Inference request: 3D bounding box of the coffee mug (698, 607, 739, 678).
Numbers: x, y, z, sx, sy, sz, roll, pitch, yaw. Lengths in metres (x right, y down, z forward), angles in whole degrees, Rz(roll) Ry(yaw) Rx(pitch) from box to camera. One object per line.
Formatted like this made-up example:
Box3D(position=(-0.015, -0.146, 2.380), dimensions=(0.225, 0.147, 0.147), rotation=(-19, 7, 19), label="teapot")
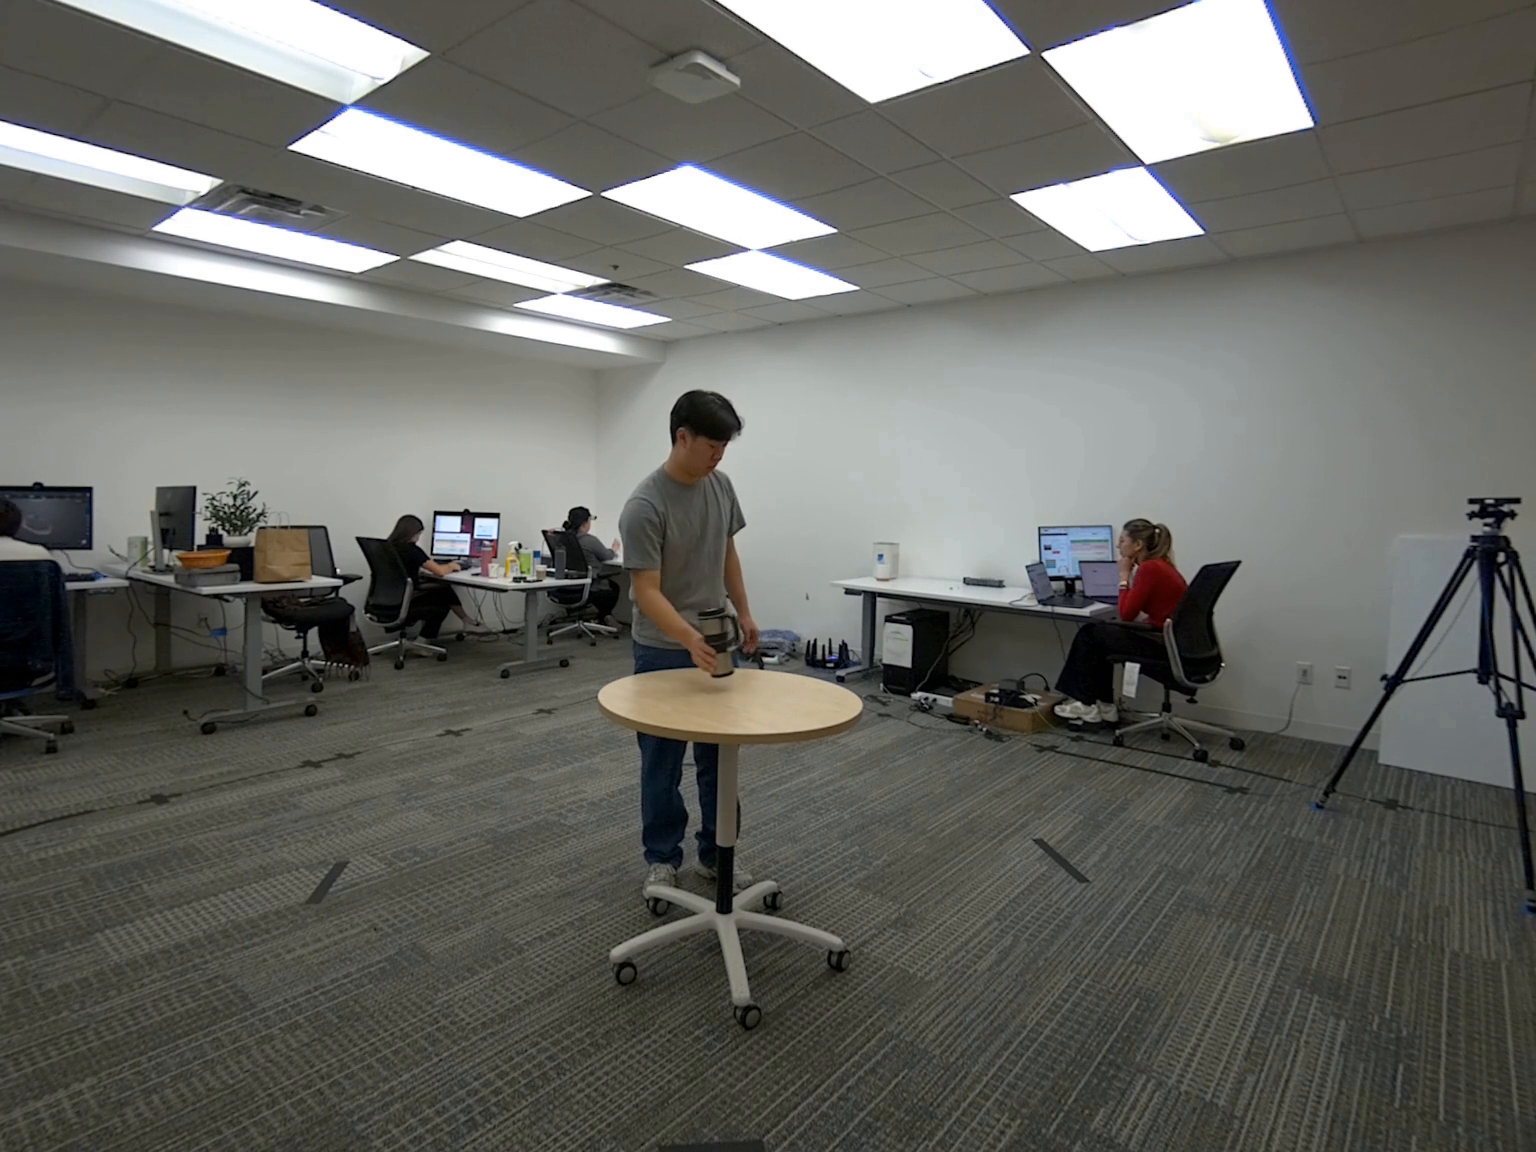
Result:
Box3D(position=(-0.147, 0.203, 2.526), dimensions=(0.086, 0.203, 0.124), rotation=(-10, 0, -27), label="coffee mug")
